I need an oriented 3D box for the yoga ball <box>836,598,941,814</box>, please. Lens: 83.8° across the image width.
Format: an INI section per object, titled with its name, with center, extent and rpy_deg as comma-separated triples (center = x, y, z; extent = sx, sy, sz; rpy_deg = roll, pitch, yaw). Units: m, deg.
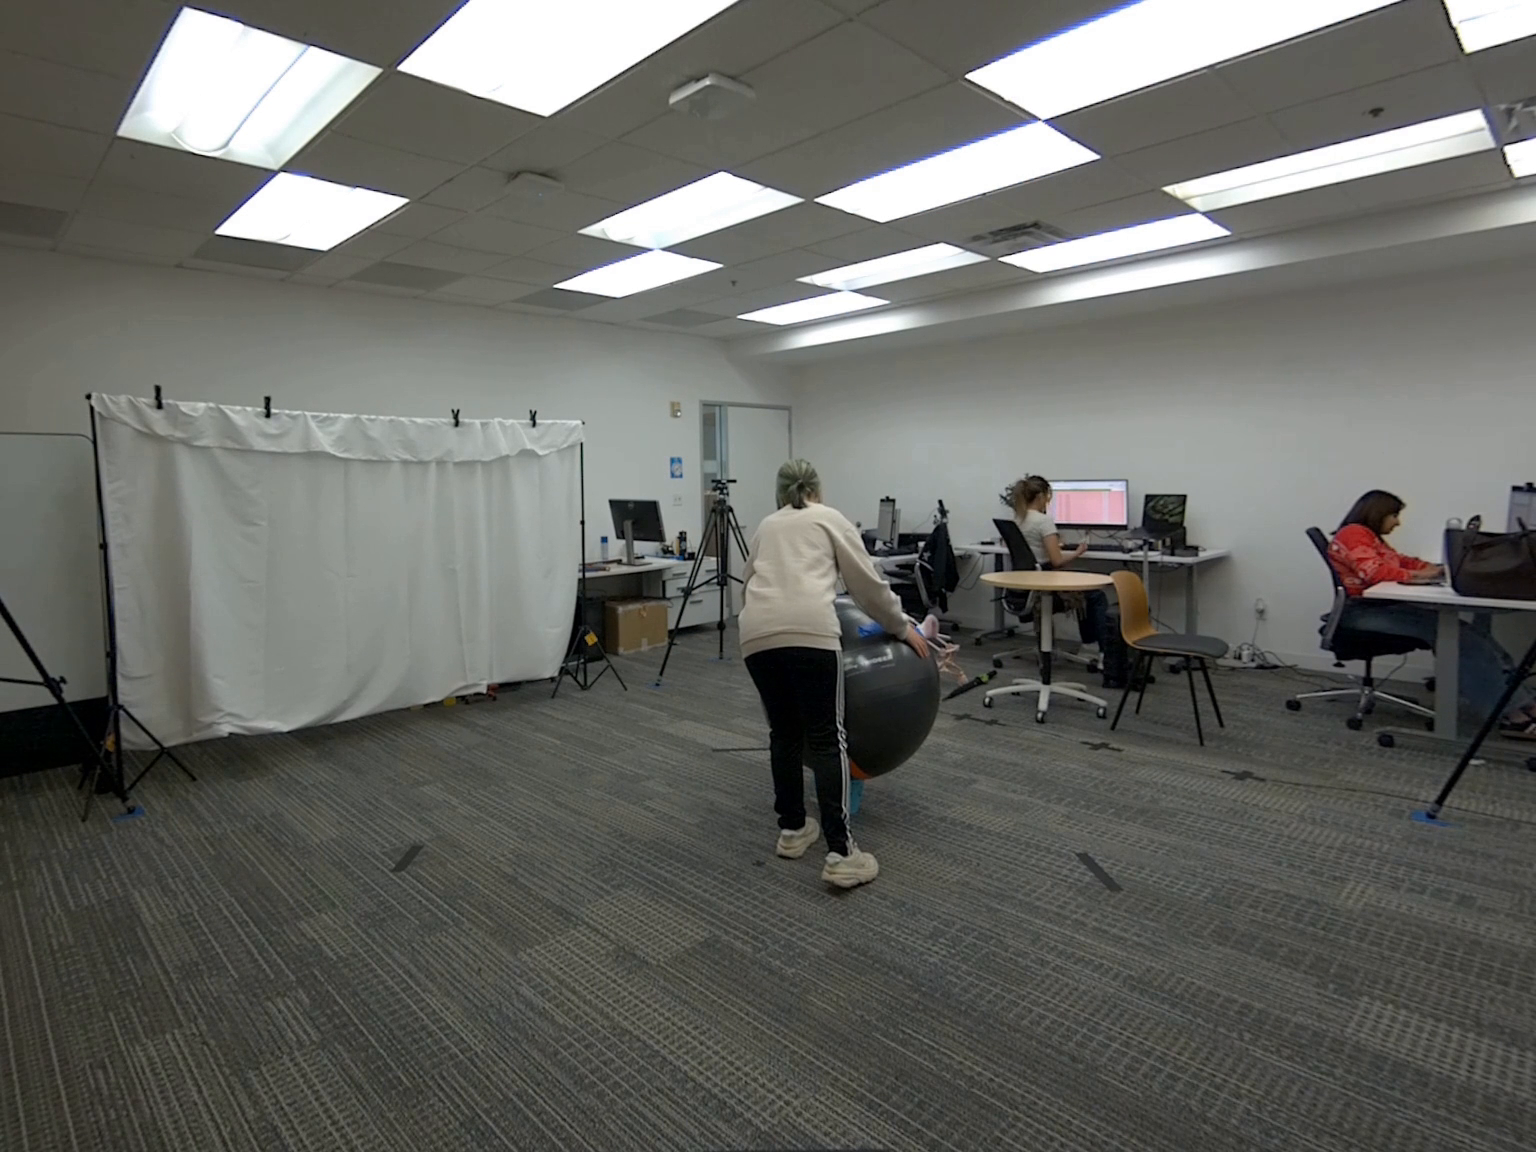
[yoga ball]
center = 0.343, 0.468, 3.613
extent = 0.757, 0.755, 0.762
rpy_deg = -1, 5, -2
